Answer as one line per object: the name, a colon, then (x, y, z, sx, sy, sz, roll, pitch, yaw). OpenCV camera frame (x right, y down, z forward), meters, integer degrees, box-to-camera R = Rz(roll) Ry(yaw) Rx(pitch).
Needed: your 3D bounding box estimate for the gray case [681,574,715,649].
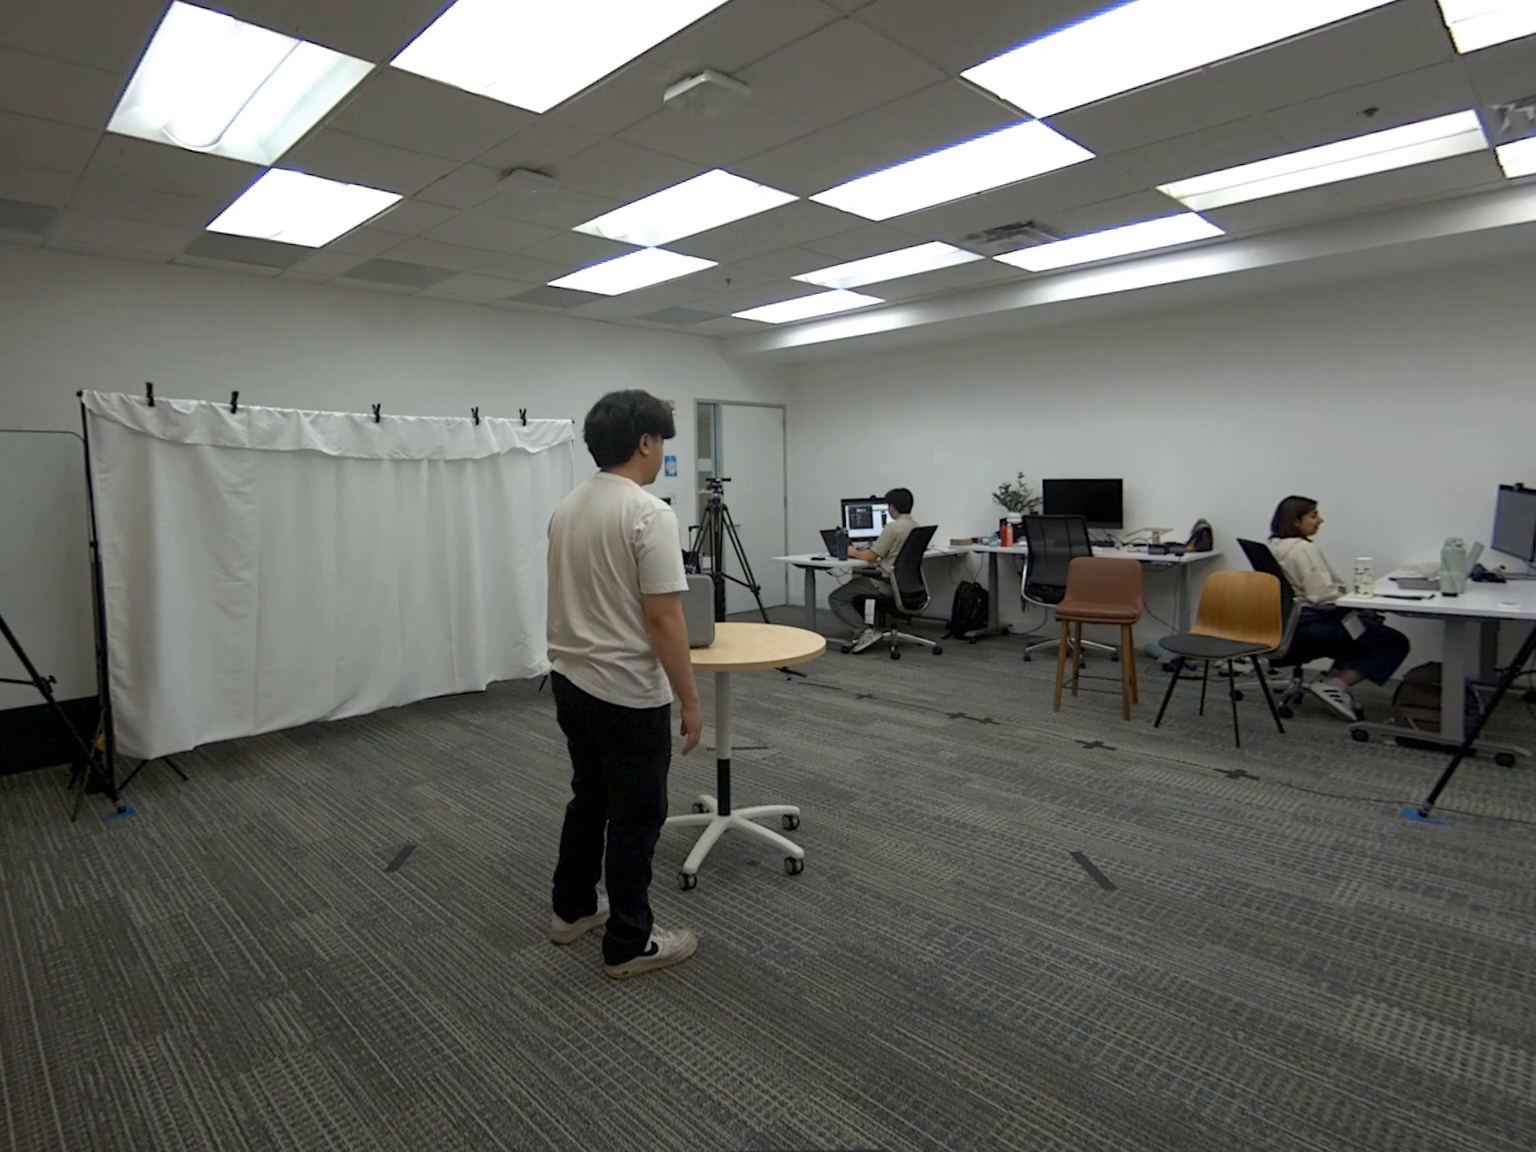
gray case: (-0.322, 0.117, 3.054, 0.255, 0.263, 0.104, -1, -8, -9)
